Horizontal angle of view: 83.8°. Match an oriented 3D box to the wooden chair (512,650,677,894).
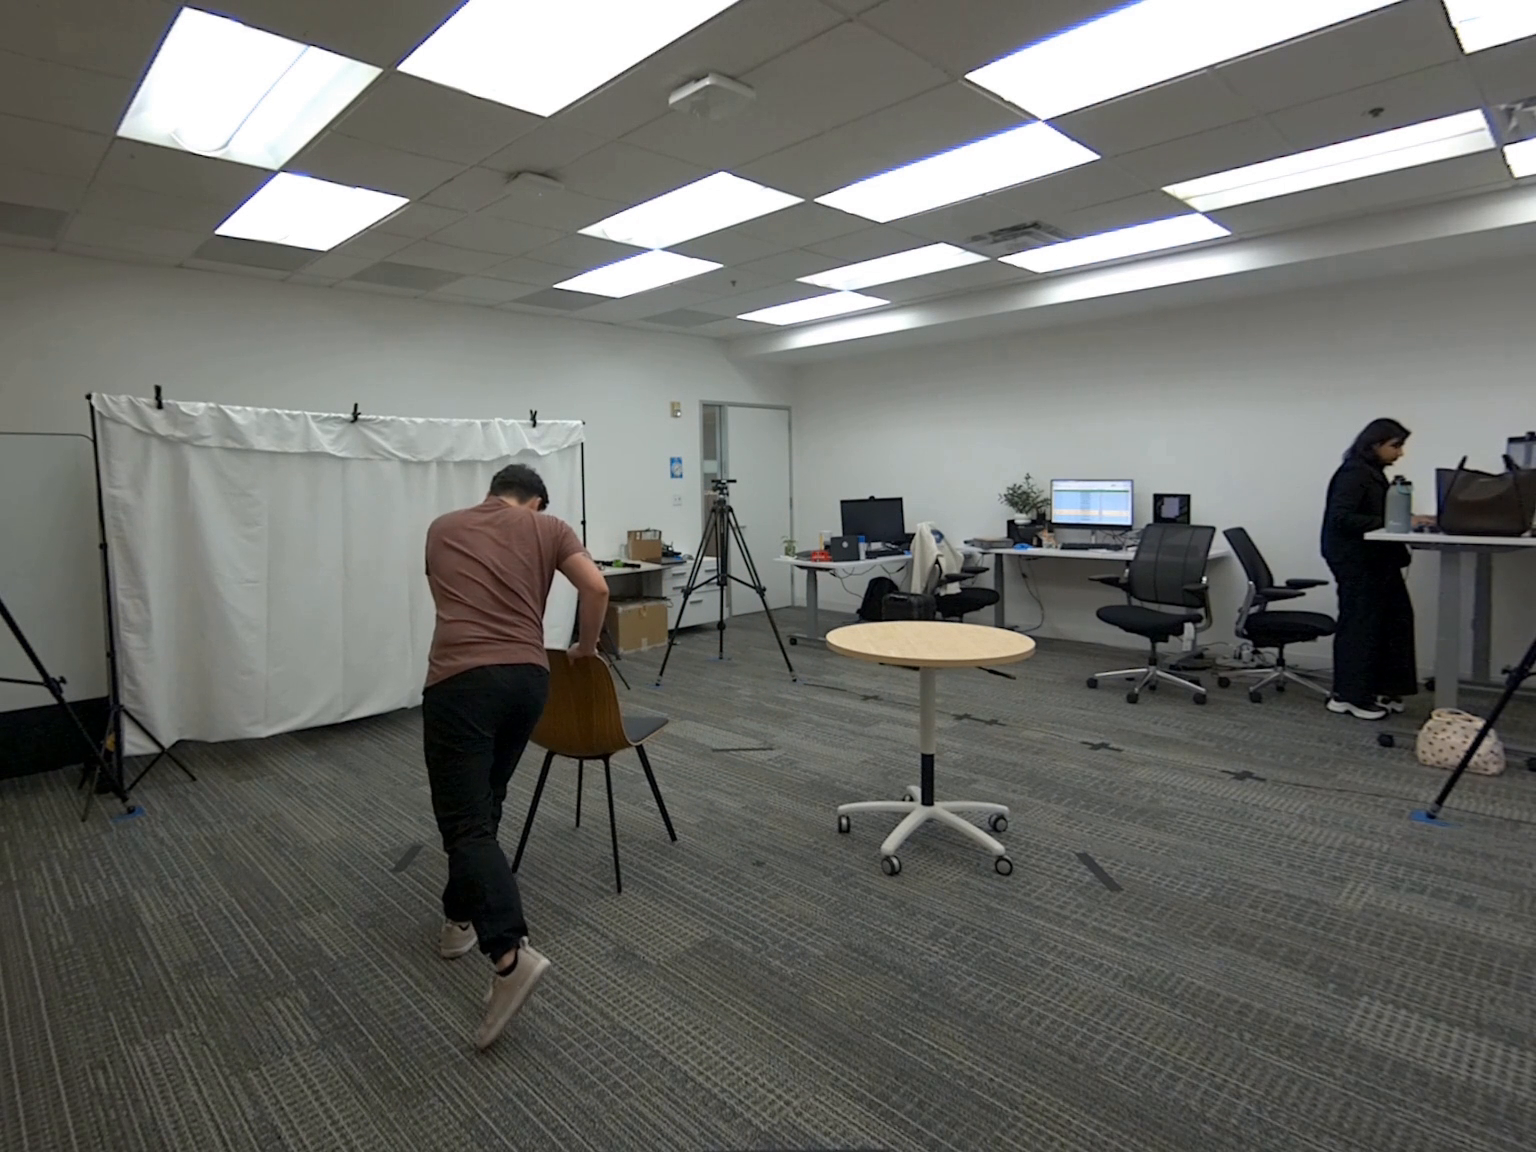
[{"bbox_3d":[-0.638,0.624,3.171,0.488,0.871,0.516,1,9,21],"label":"wooden chair"}]
